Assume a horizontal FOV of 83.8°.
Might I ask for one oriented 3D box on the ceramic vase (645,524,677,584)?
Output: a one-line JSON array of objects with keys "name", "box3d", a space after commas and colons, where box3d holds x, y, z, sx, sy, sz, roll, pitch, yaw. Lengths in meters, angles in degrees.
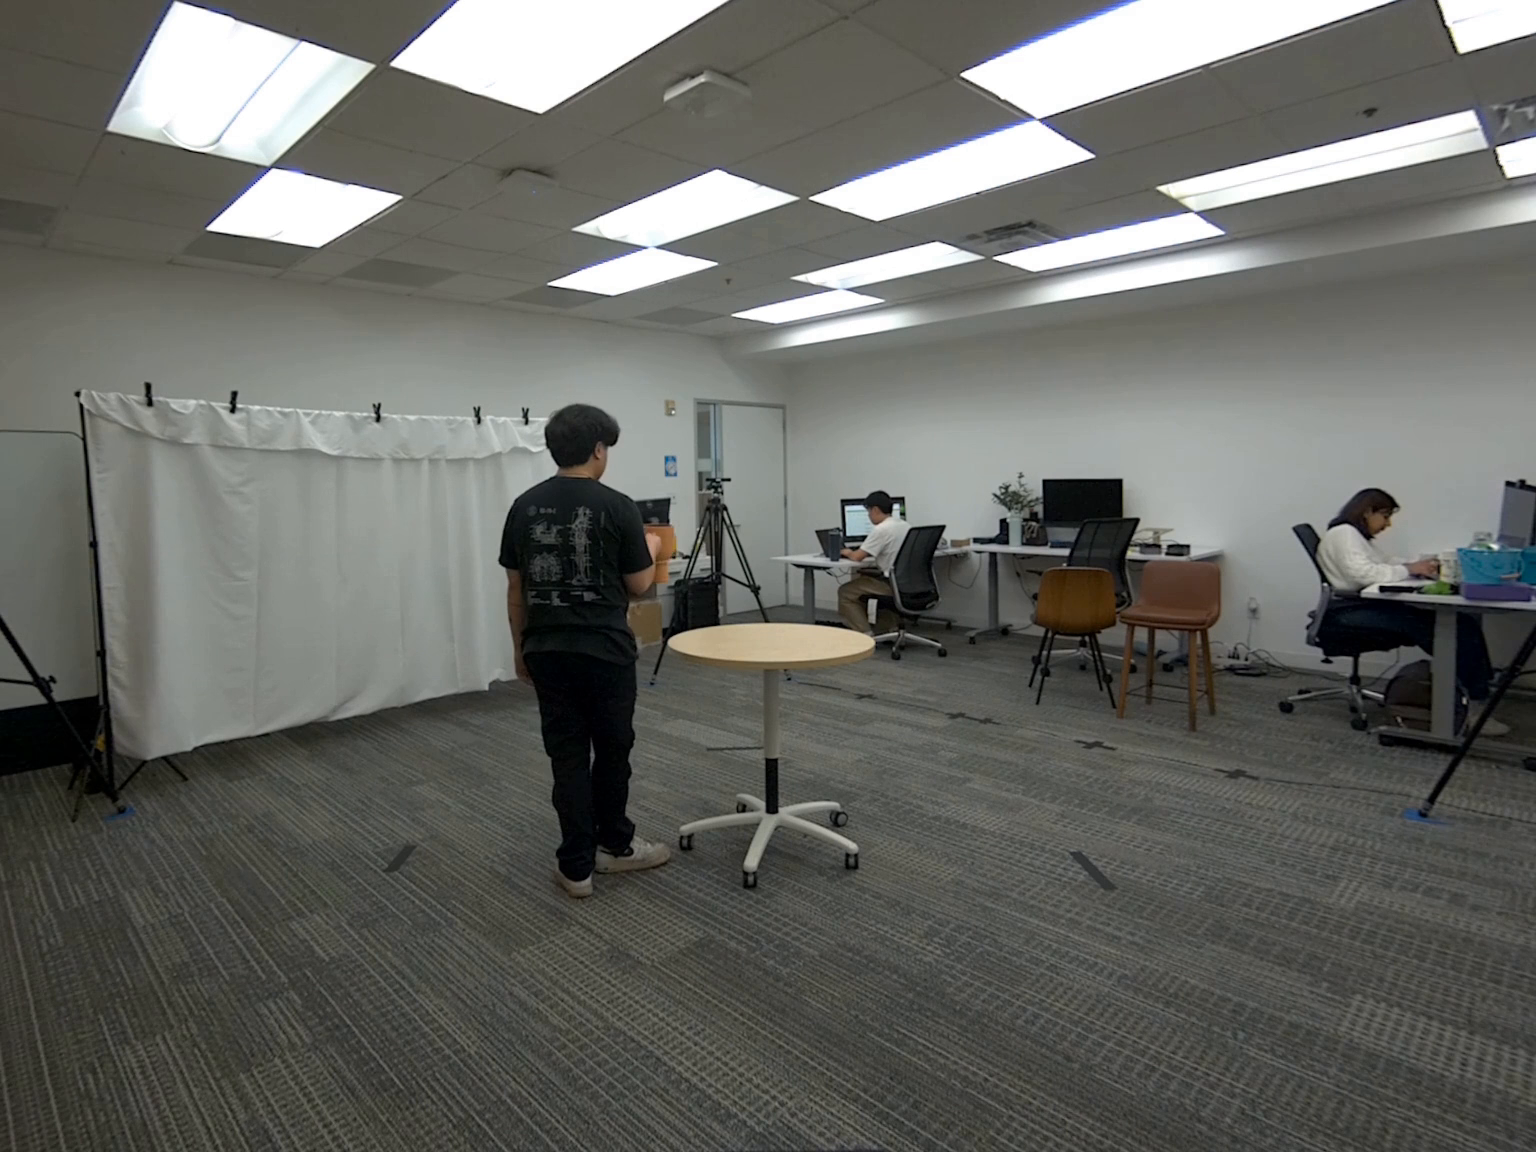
[{"name": "ceramic vase", "box3d": [-0.421, -0.090, 3.352, 0.139, 0.219, 0.154, 6, 8, 43]}]
